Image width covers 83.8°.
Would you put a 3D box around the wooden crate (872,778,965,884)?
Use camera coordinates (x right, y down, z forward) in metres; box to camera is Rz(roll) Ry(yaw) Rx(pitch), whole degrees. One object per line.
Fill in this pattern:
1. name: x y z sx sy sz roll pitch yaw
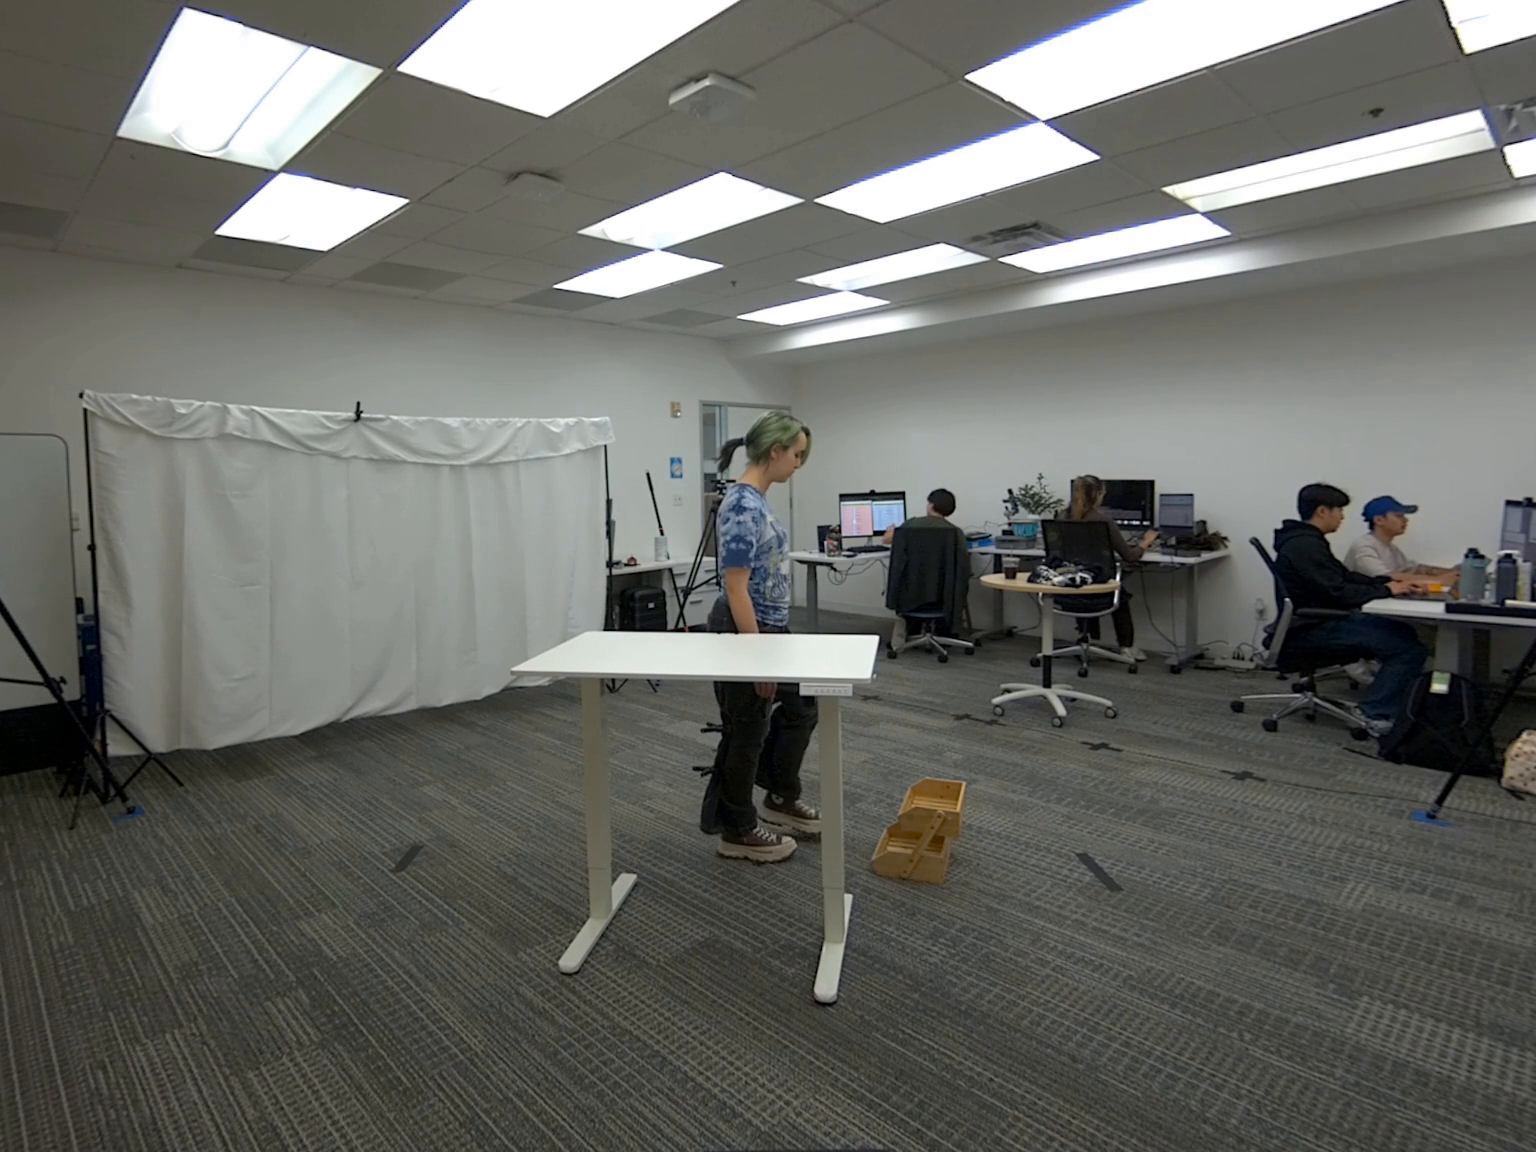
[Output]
1. wooden crate: 0.552 0.906 3.087 0.307 0.272 0.320 0 5 18
